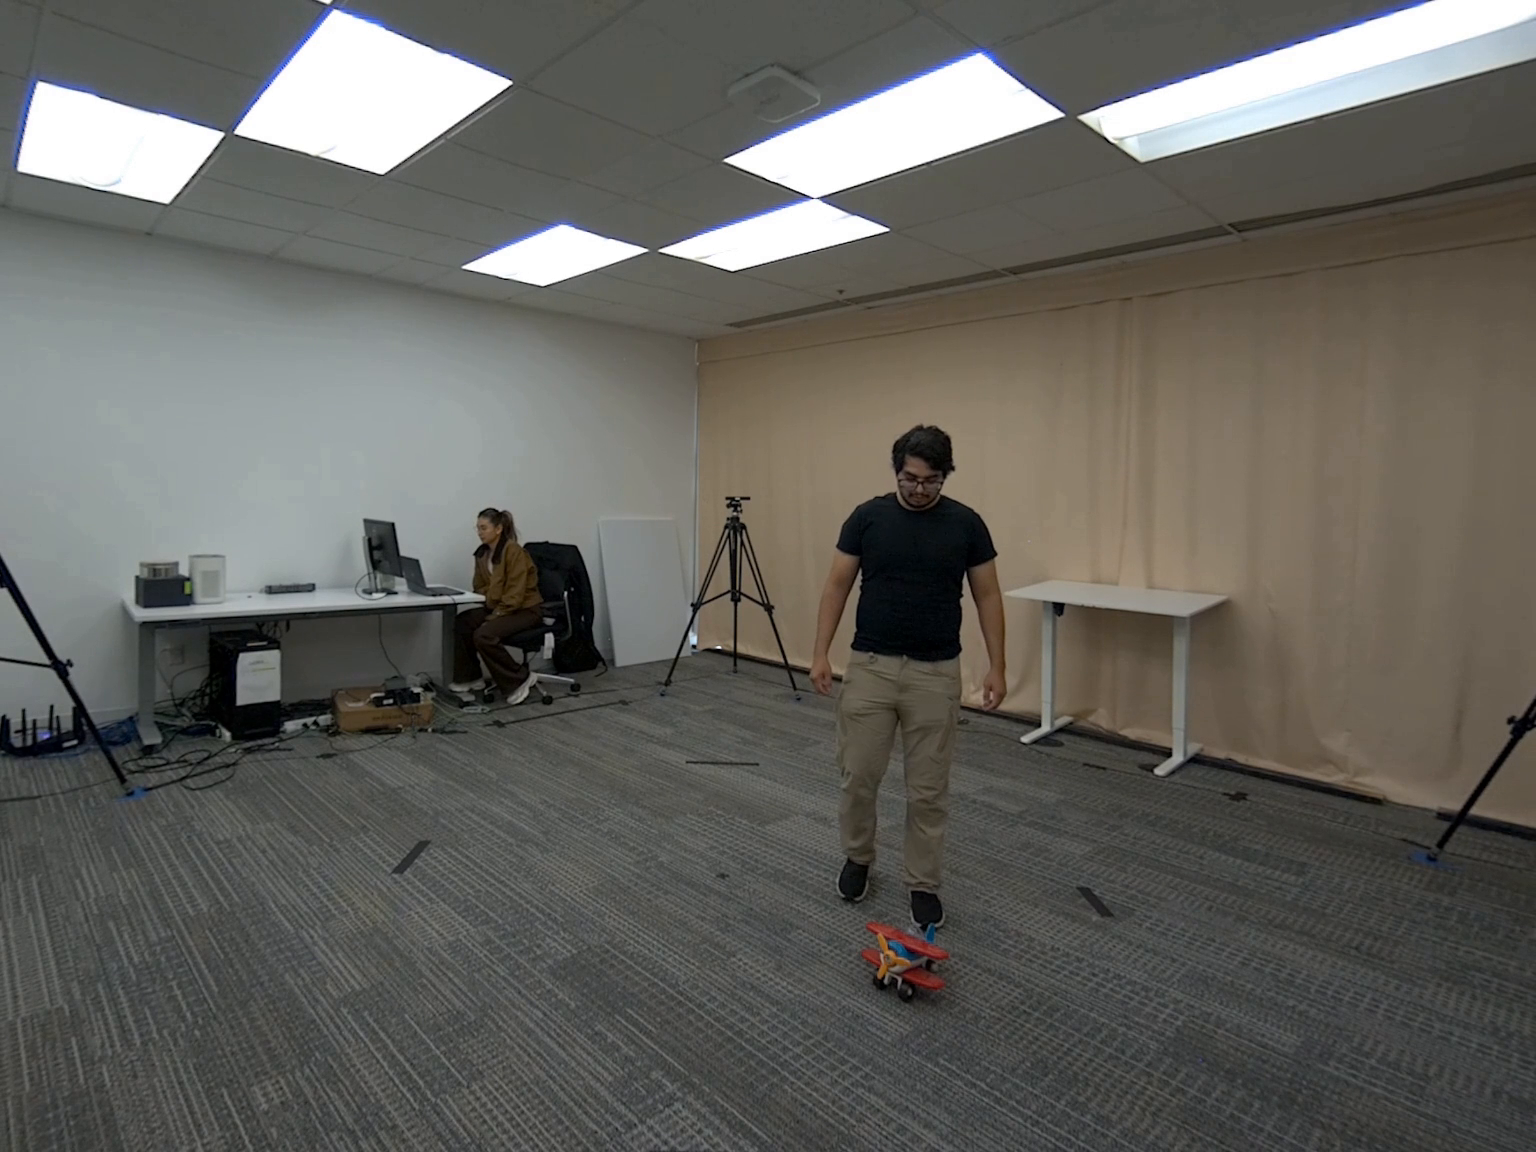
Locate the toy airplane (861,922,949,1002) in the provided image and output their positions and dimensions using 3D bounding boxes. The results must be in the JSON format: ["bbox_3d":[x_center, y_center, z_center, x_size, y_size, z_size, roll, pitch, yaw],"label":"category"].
[{"bbox_3d":[0.388,1.106,2.453,0.254,0.156,0.257,3,6,12],"label":"toy airplane"}]
